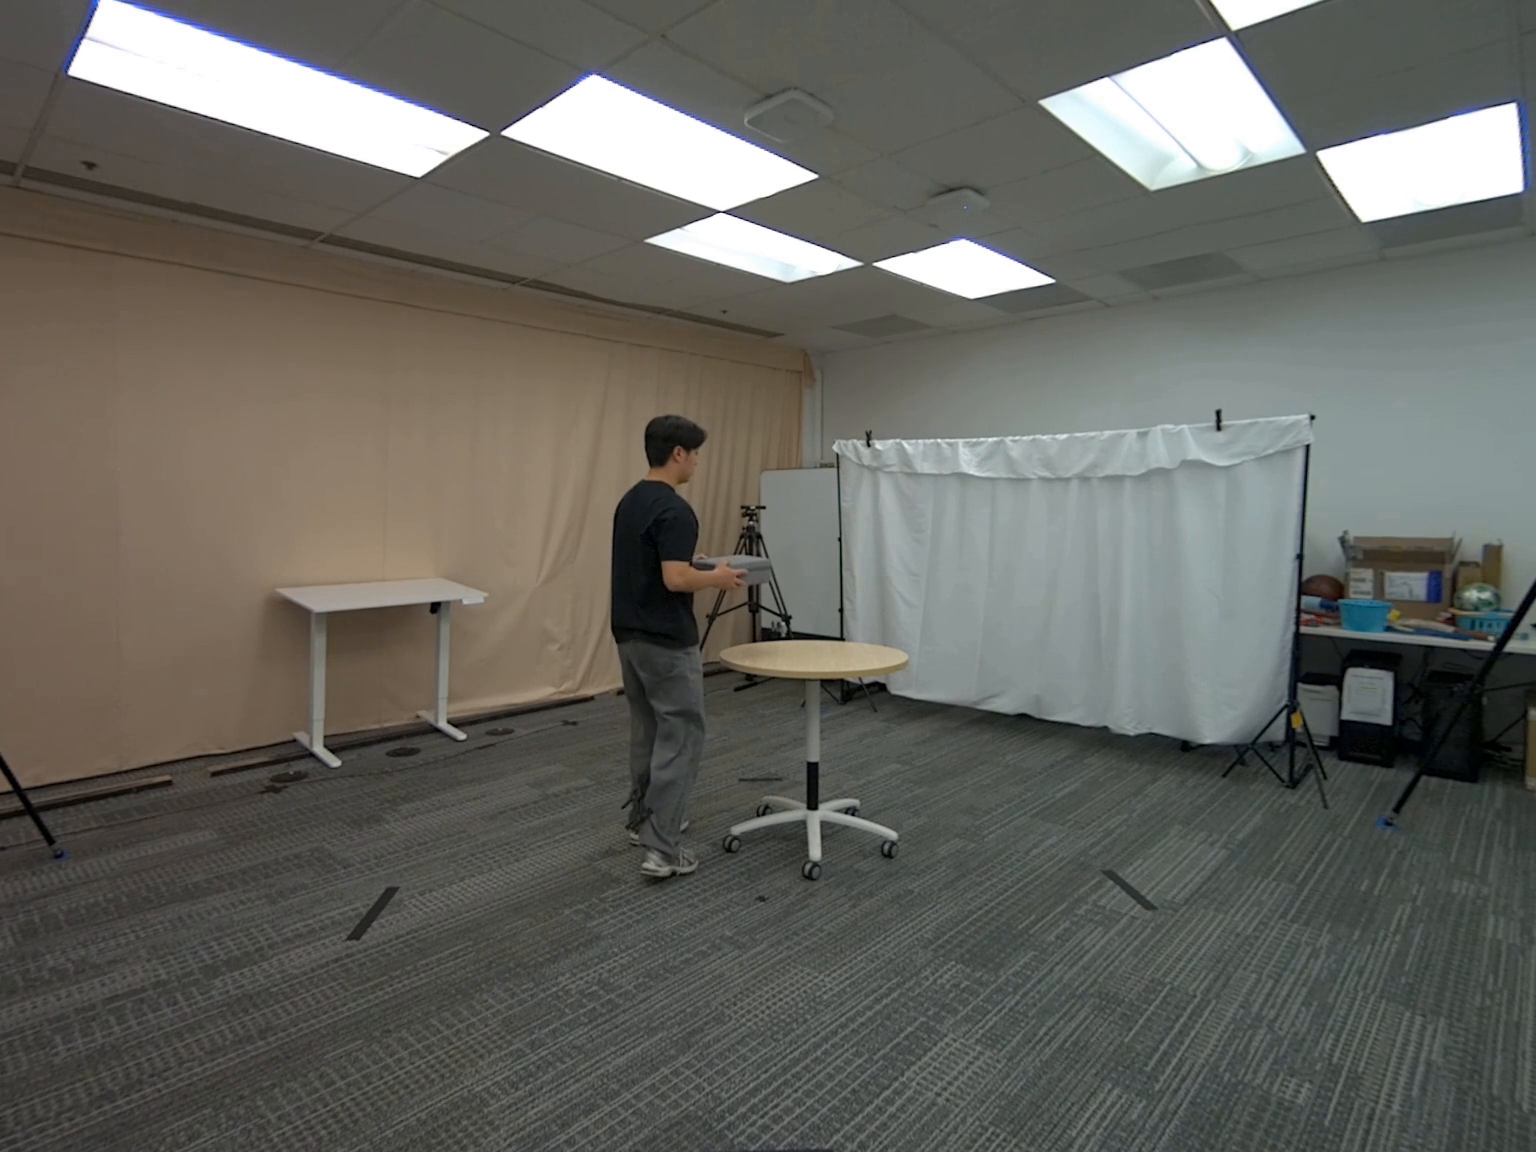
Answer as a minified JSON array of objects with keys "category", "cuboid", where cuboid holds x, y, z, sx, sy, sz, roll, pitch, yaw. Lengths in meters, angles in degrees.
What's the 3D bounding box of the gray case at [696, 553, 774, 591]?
[{"category":"gray case","cuboid":[-0.164,-0.021,3.499,0.282,0.102,0.269,-4,8,-20]}]
